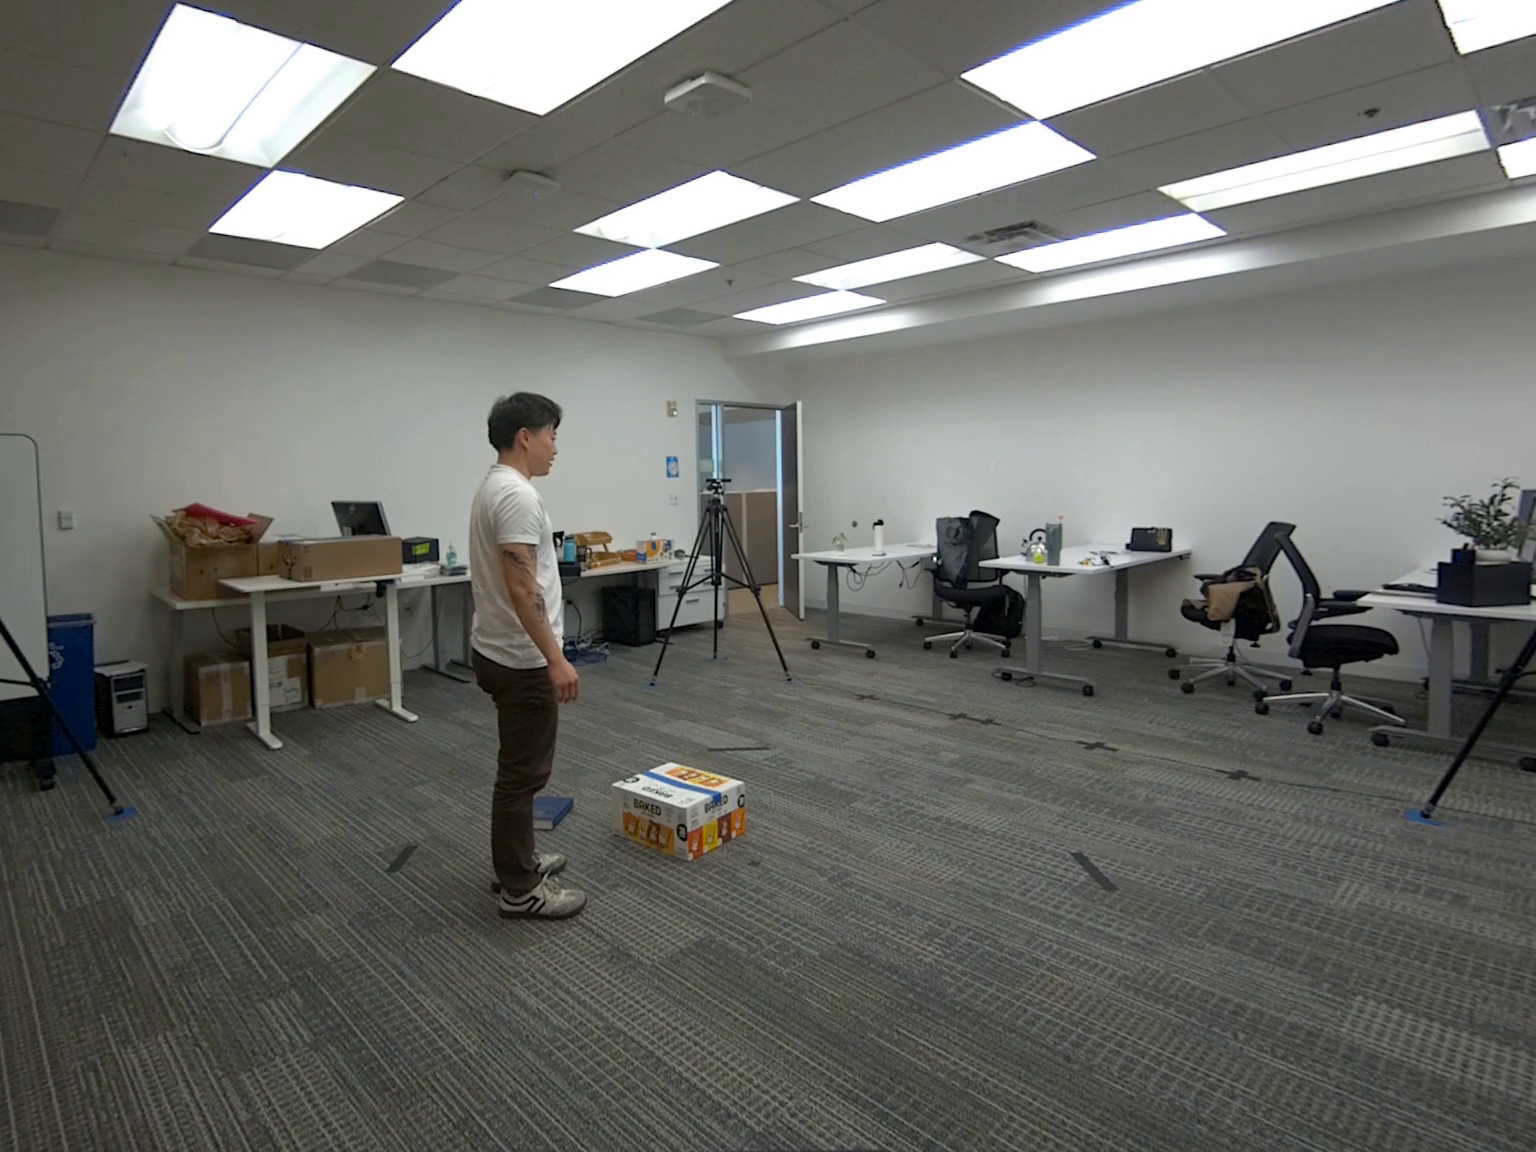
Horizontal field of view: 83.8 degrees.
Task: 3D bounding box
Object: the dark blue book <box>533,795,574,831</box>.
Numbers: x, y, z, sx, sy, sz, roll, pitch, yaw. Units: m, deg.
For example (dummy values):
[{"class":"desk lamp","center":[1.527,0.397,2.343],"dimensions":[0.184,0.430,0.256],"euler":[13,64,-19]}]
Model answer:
[{"class":"dark blue book","center":[-0.929,0.986,3.569],"dimensions":[0.165,0.045,0.244],"euler":[-1,7,7]}]
